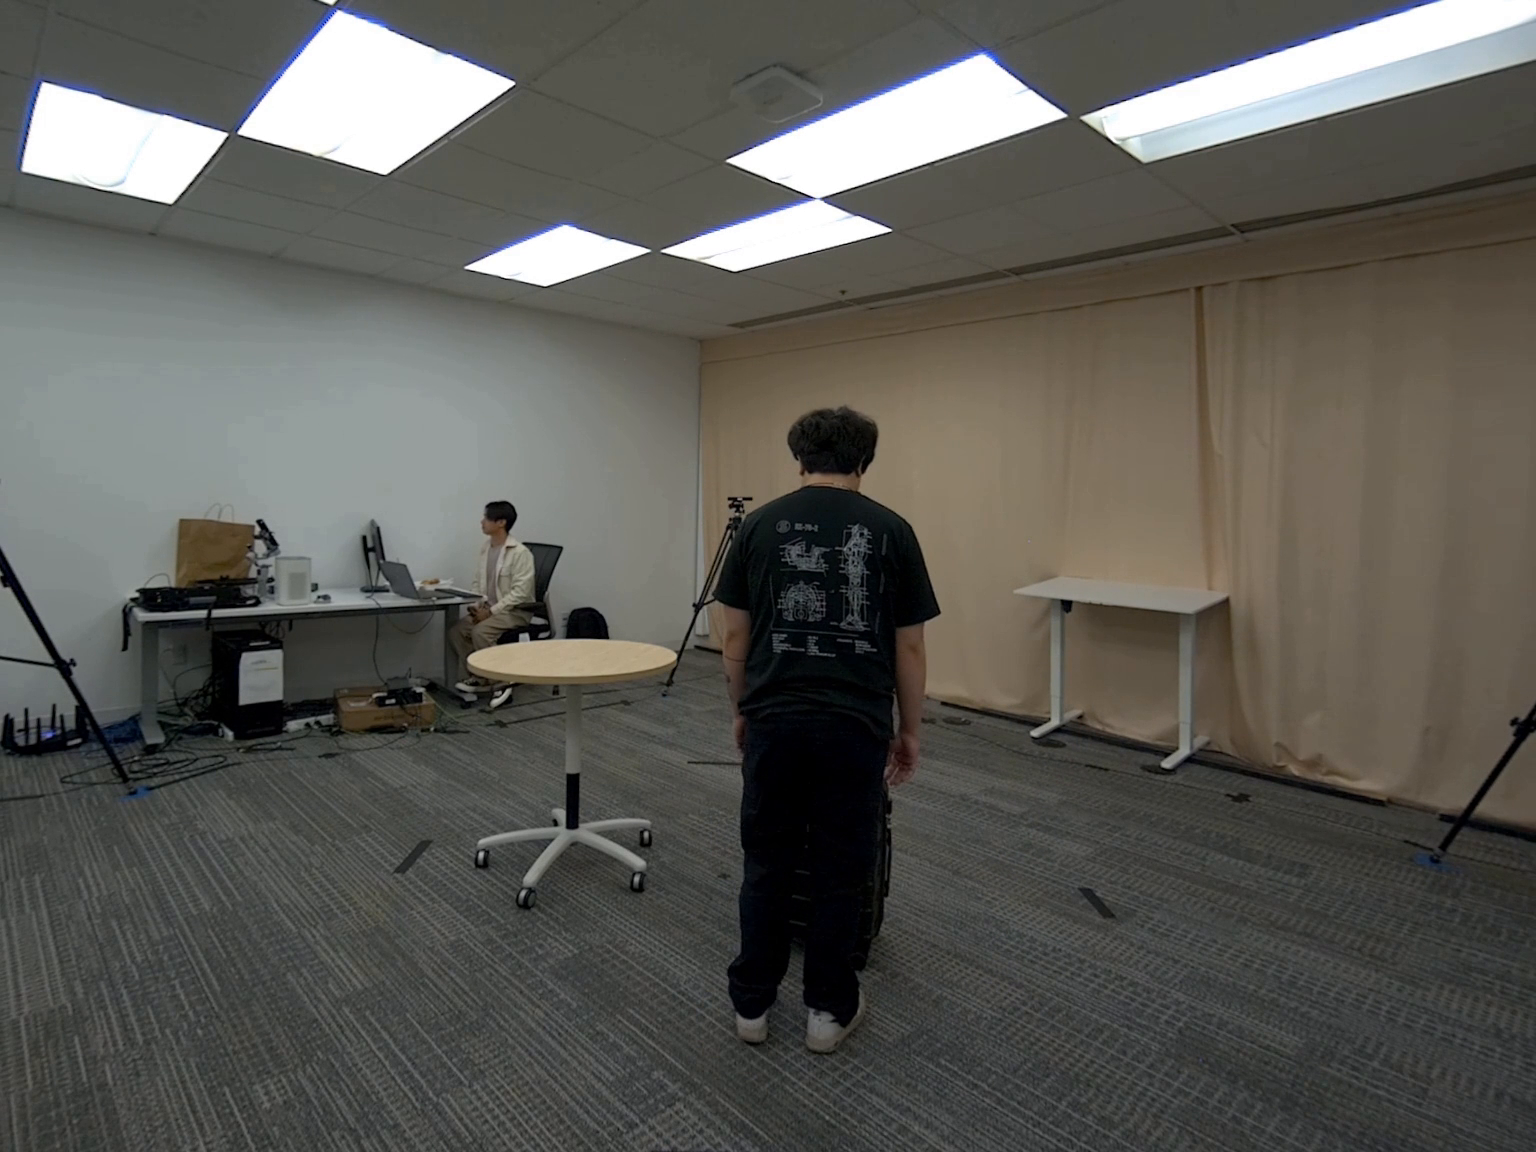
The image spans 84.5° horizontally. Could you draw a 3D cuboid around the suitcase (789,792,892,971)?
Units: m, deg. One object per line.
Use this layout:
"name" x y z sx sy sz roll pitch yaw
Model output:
"suitcase" 0.190 0.889 2.639 0.381 0.548 0.245 5 4 19
